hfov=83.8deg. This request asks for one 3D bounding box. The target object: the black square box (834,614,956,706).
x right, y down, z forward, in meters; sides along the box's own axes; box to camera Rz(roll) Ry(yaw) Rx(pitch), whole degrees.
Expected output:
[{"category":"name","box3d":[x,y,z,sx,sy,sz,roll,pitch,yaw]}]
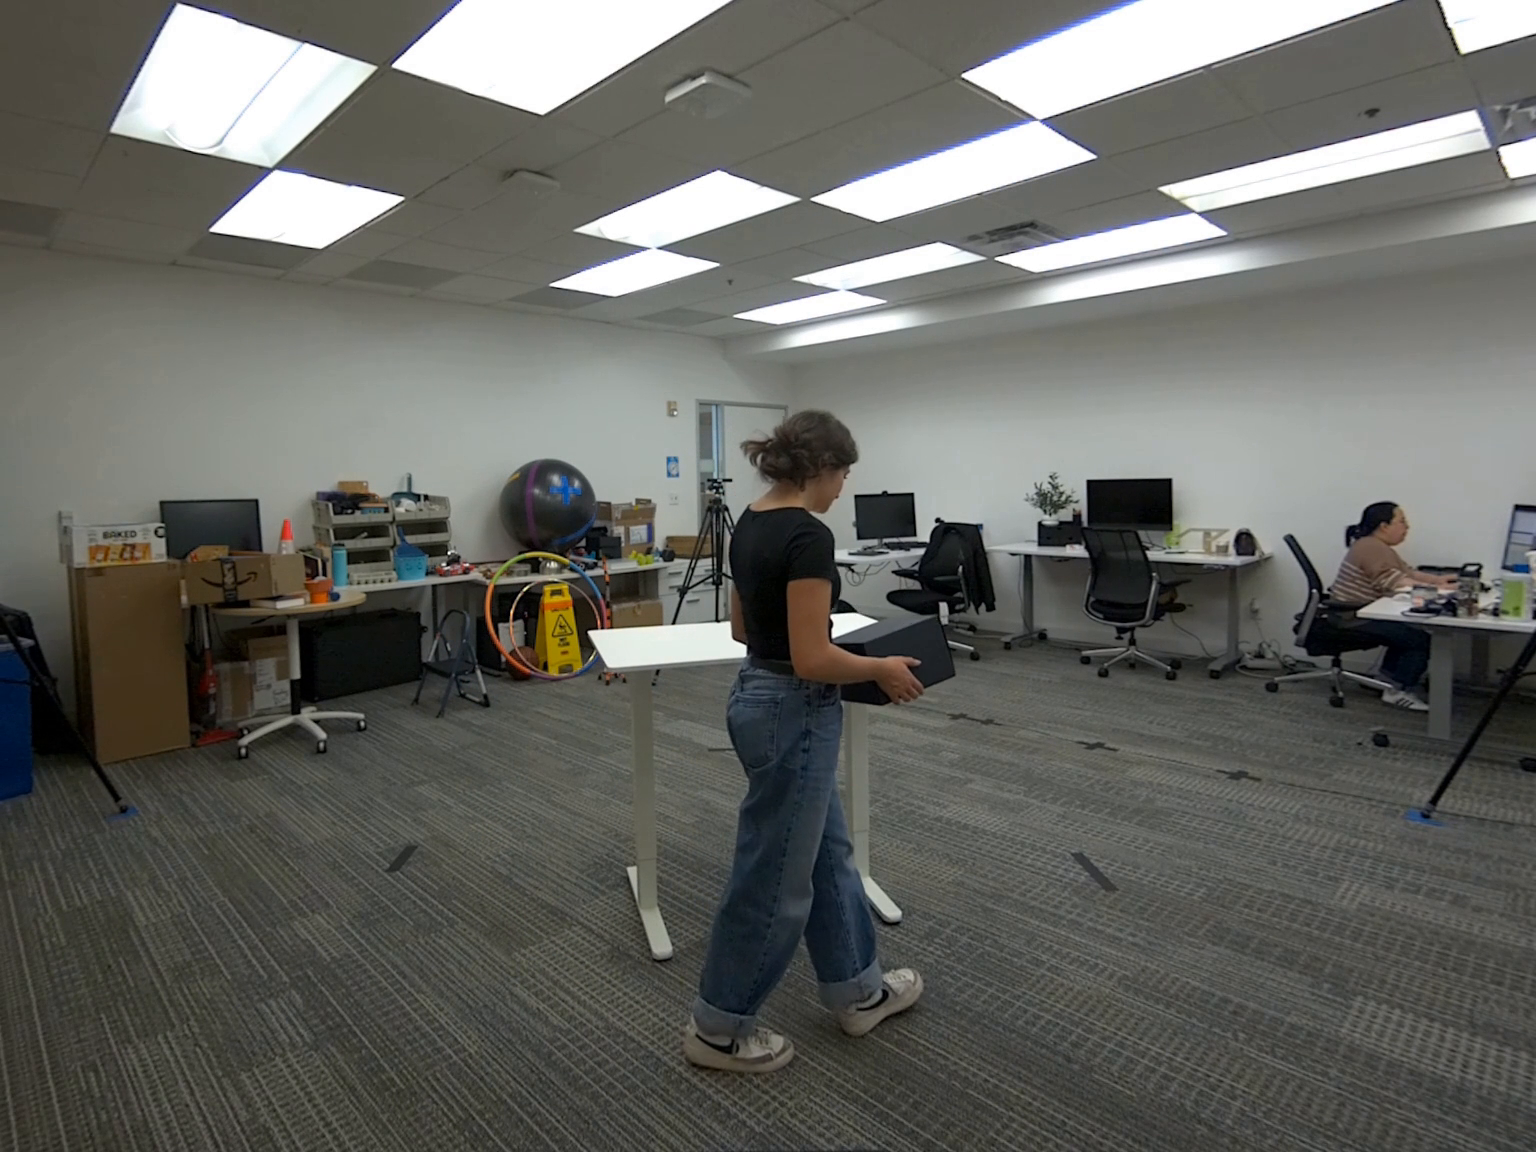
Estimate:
[{"category":"black square box","box3d":[0.297,0.203,2.130,0.225,0.156,0.220,-16,2,-18]}]
